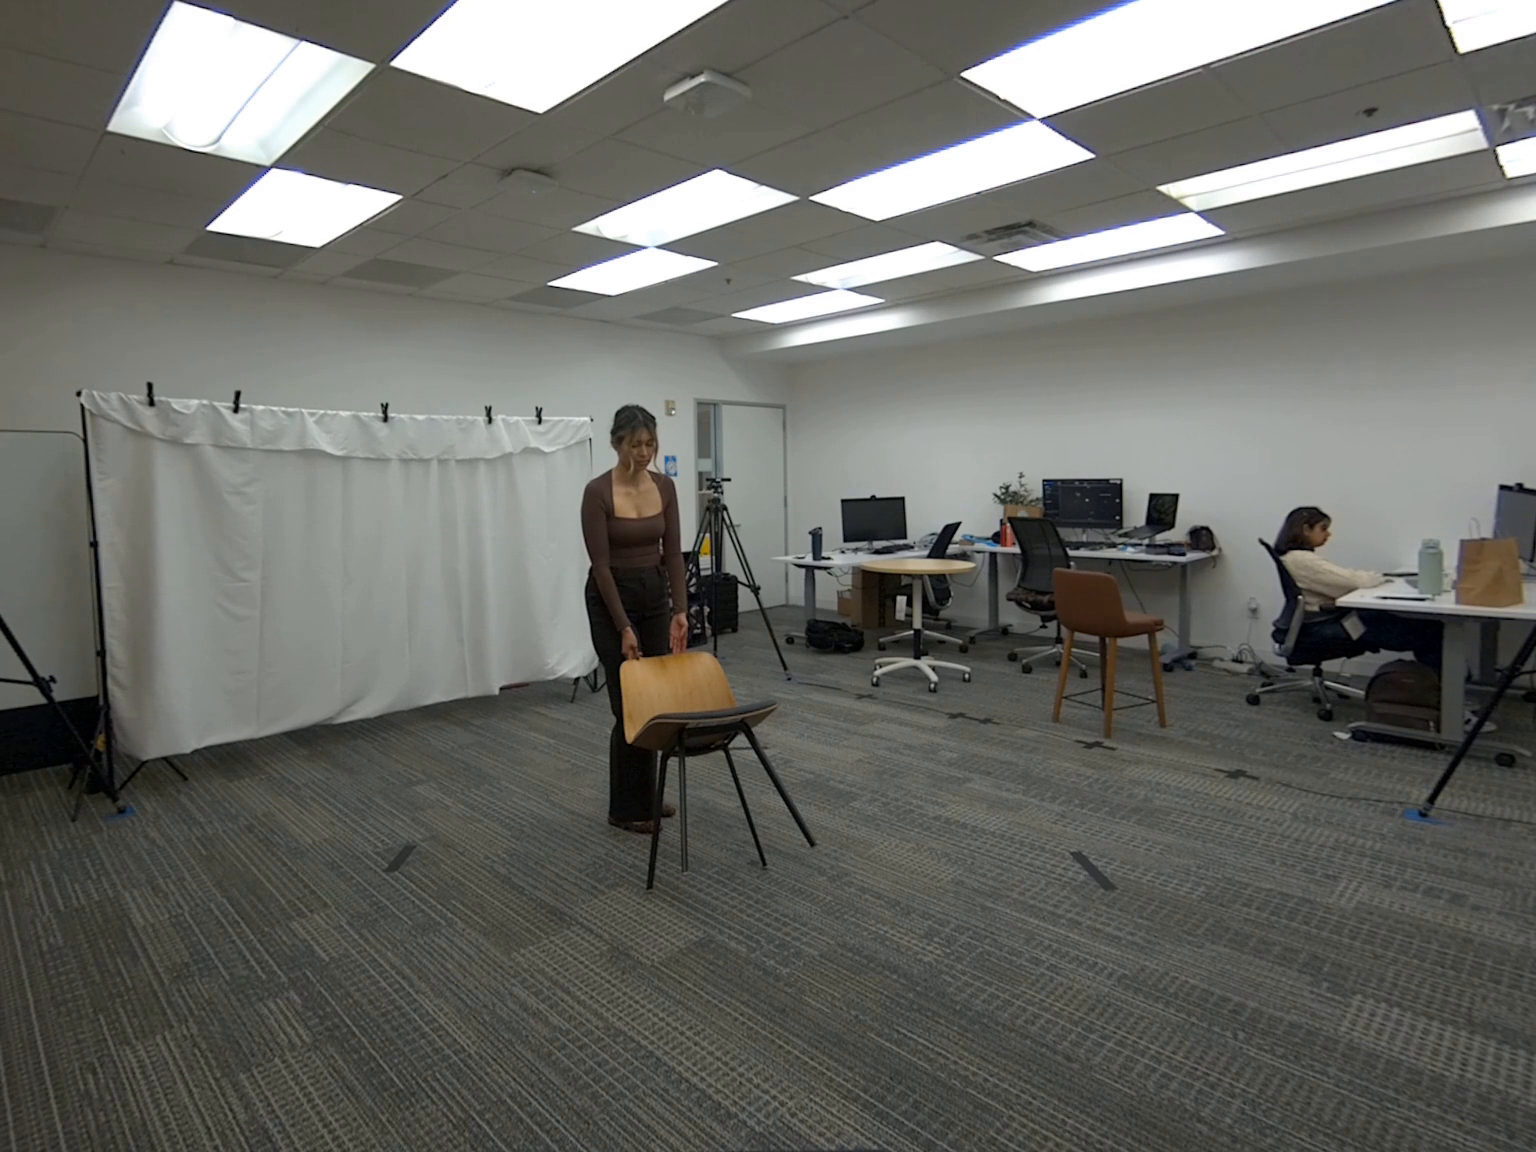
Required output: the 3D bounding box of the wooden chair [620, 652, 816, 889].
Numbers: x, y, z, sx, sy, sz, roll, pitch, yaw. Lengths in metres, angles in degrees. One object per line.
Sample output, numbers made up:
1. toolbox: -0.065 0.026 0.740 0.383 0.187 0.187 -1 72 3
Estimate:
1. wooden chair: -0.221 0.573 2.971 0.469 0.902 0.519 -3 -30 -23
